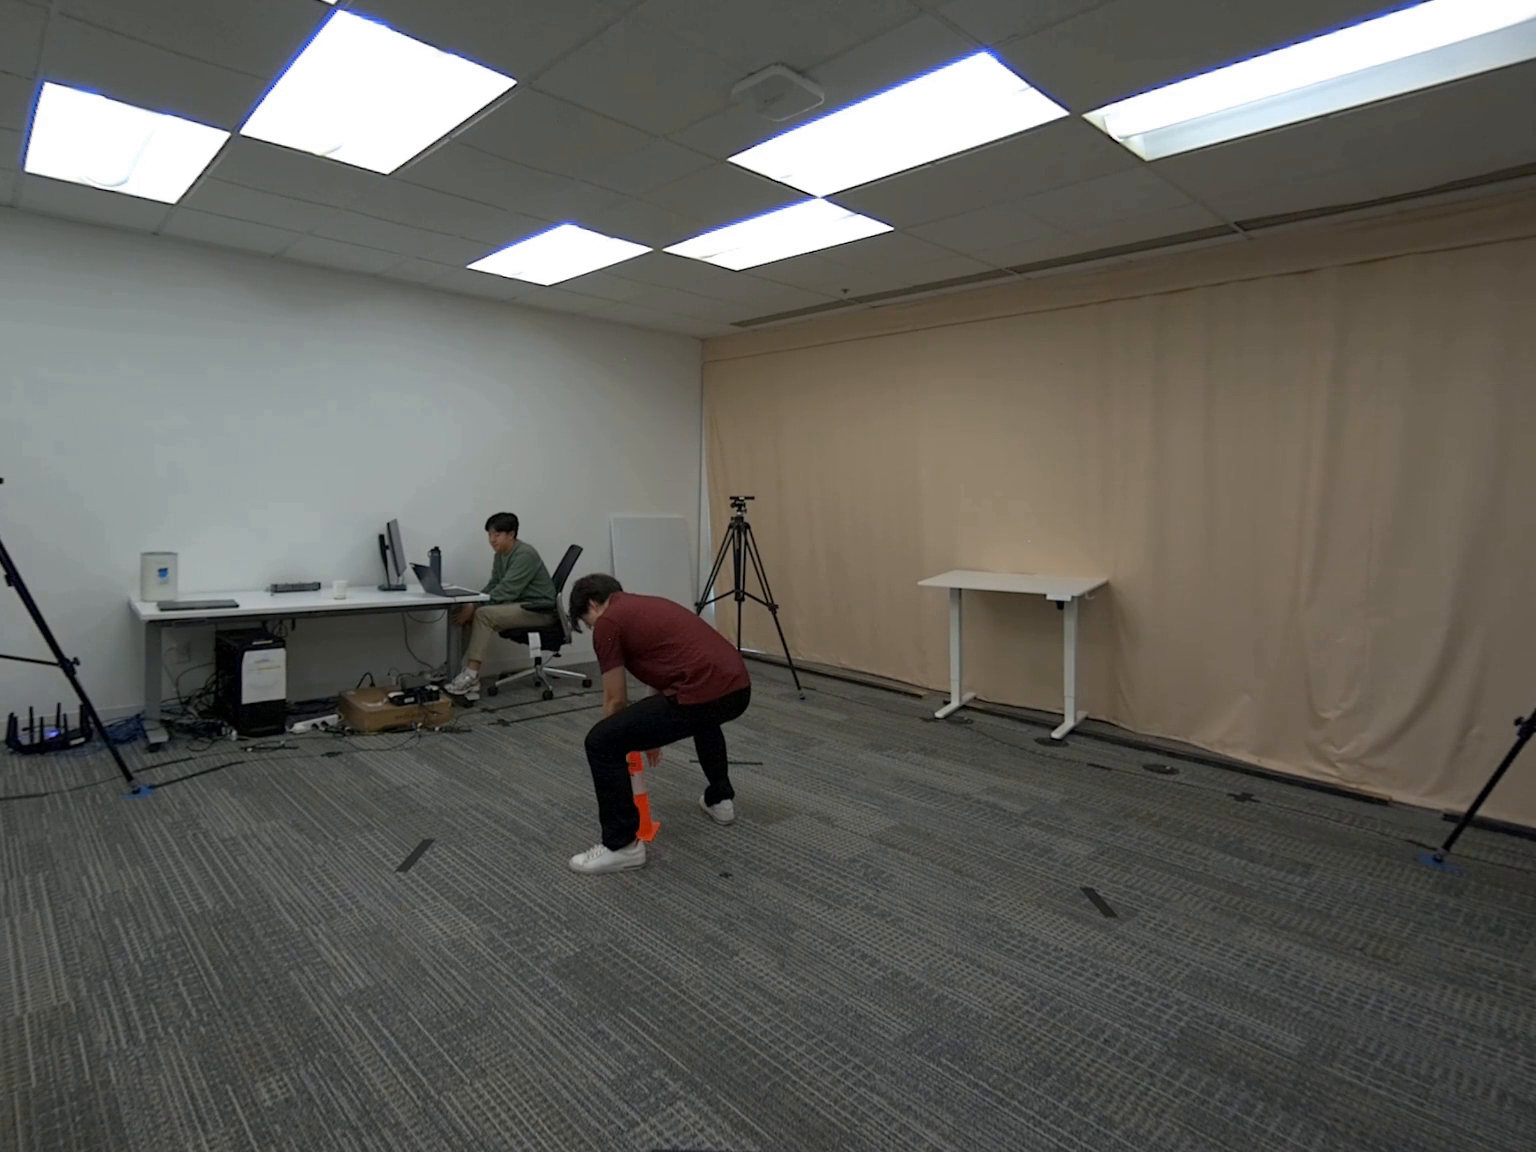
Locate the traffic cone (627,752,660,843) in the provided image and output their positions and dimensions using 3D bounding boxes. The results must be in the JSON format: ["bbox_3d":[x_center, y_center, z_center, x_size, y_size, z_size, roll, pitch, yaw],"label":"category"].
[{"bbox_3d":[-0.576,0.878,3.502,0.206,0.383,0.202,0,3,8],"label":"traffic cone"}]
